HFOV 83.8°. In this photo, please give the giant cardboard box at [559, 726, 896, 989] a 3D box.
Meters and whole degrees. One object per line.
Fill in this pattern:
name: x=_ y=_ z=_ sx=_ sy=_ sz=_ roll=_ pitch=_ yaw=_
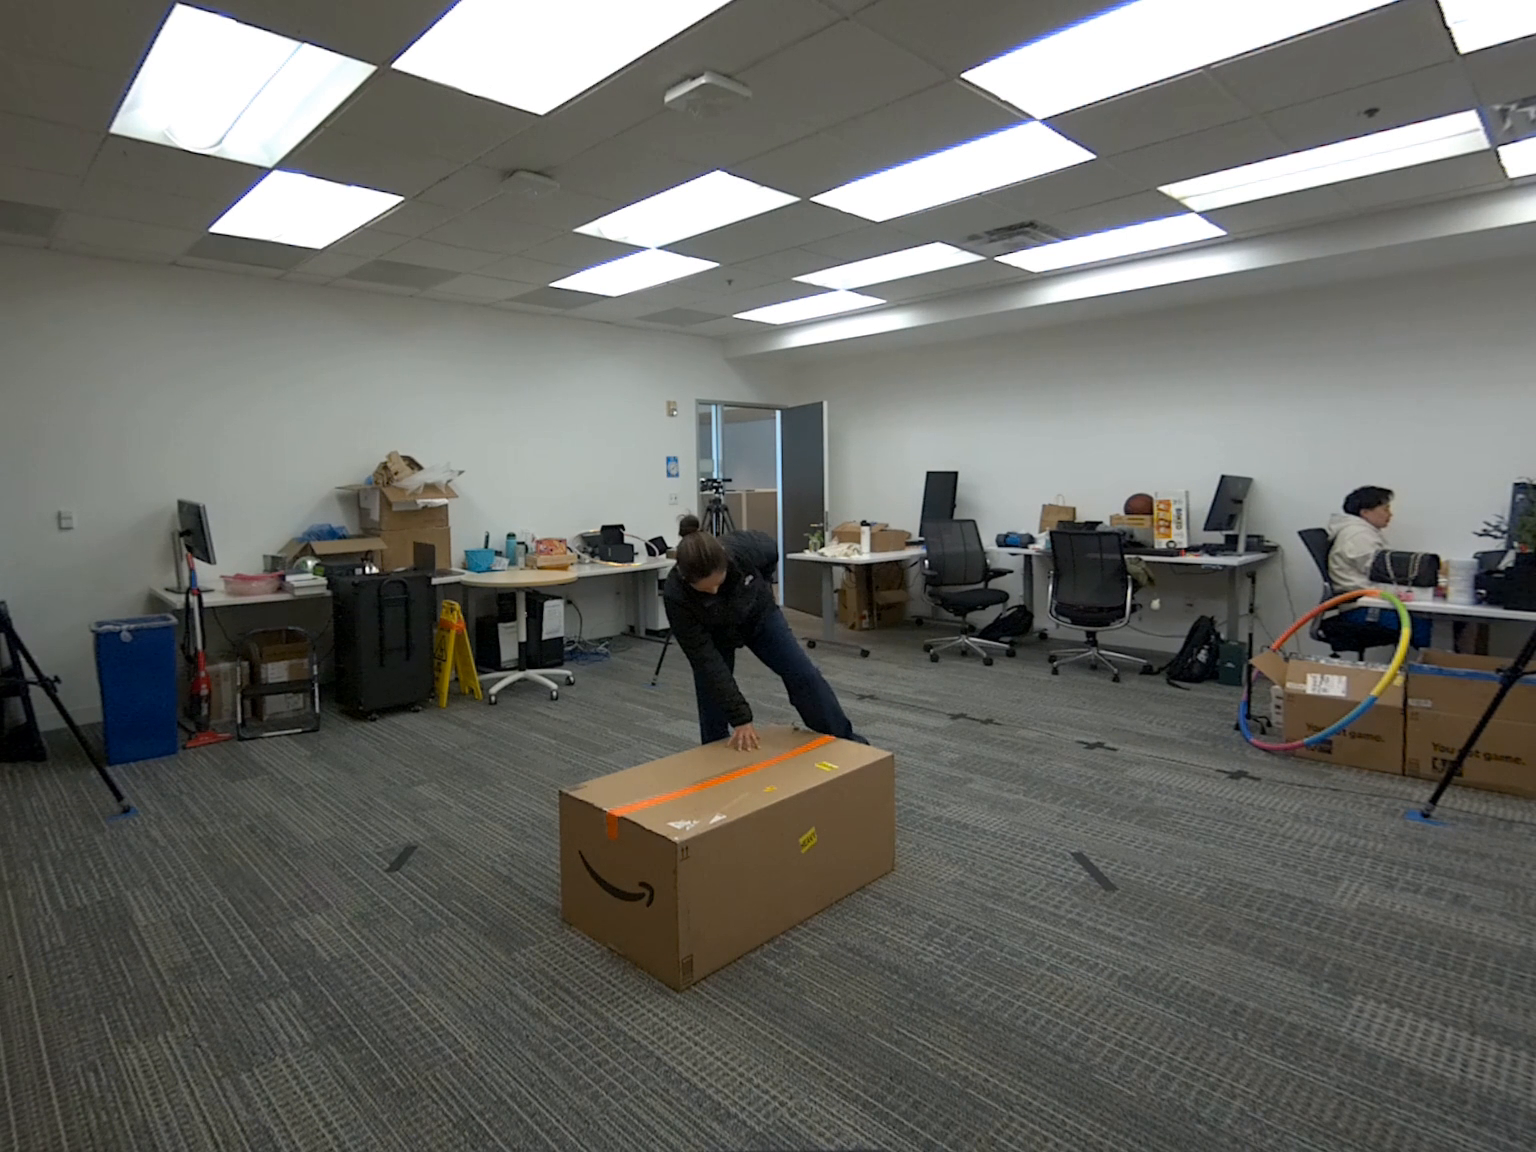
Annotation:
giant cardboard box: x=-0.107 y=0.864 z=2.883 sx=0.601 sy=0.445 sz=1.001 roll=3 pitch=7 yaw=44
